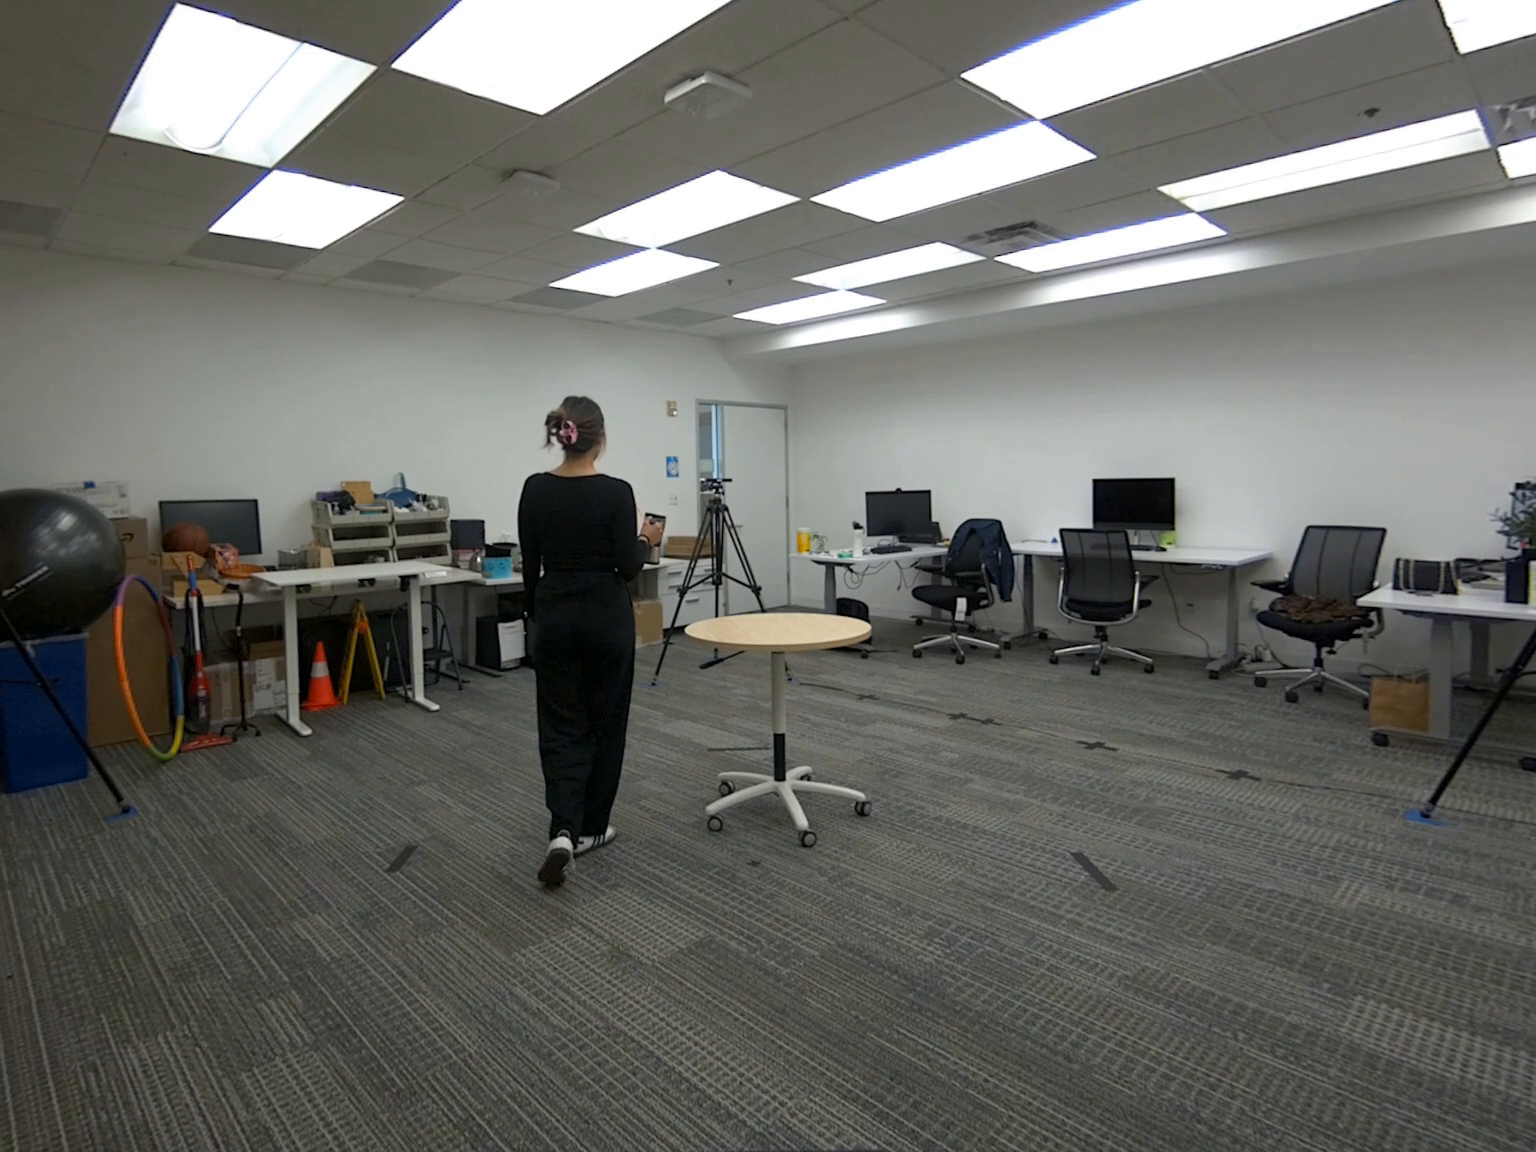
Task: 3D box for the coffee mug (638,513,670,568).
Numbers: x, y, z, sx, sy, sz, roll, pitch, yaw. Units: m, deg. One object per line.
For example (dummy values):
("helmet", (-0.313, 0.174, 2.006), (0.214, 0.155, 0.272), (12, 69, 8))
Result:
("coffee mug", (-0.473, -0.144, 3.398), (0.090, 0.202, 0.119), (9, 5, 28))
